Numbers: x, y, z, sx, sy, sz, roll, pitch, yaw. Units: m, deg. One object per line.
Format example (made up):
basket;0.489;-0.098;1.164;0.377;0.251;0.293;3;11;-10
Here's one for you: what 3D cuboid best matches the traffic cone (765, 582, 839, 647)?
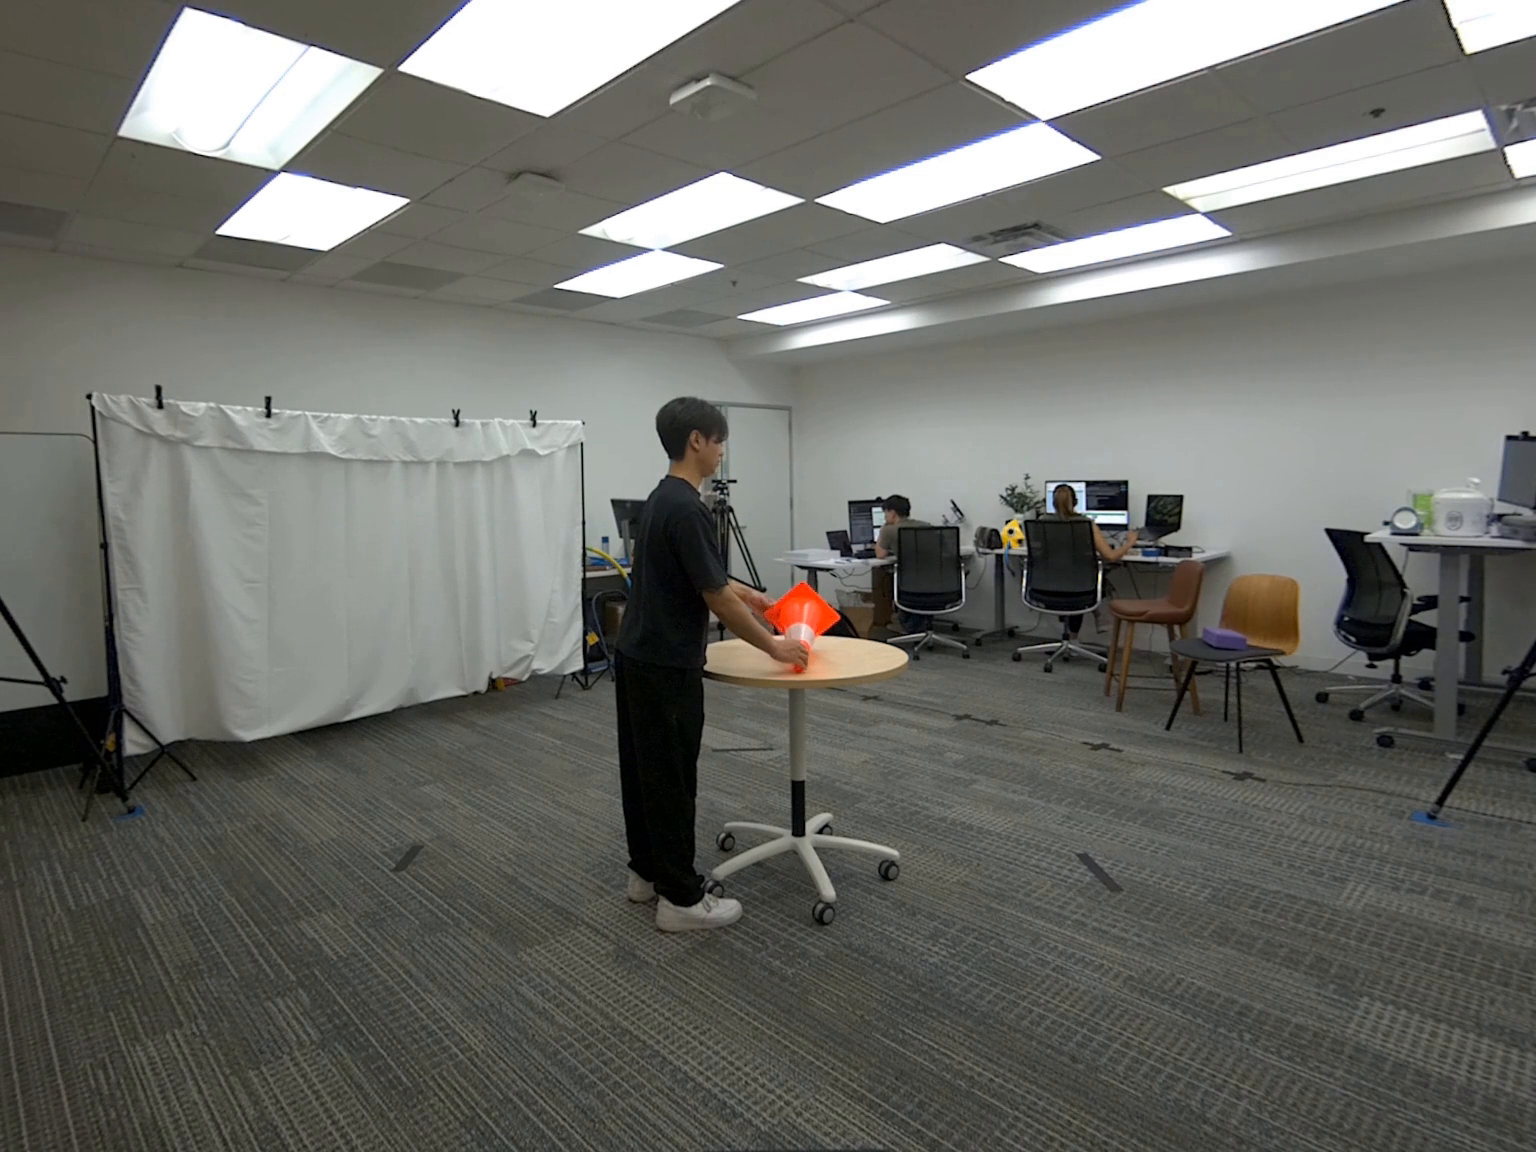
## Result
traffic cone;0.118;0.219;2.870;0.206;0.199;0.390;-35;18;15
